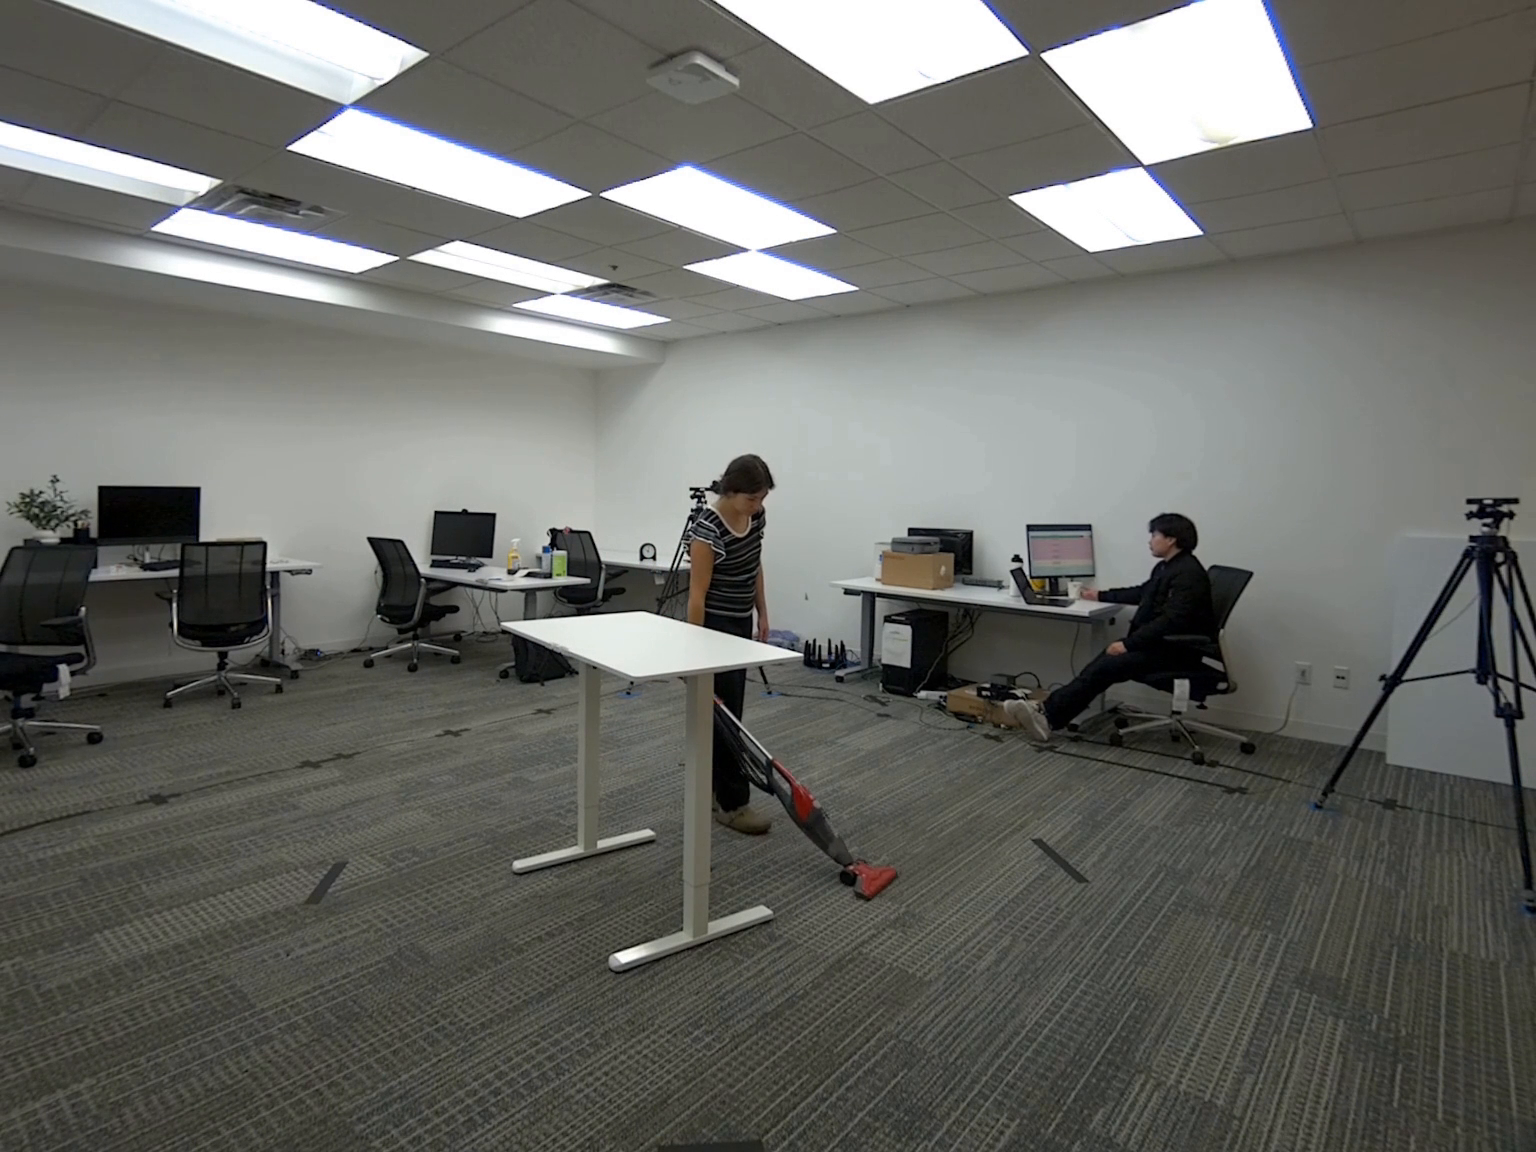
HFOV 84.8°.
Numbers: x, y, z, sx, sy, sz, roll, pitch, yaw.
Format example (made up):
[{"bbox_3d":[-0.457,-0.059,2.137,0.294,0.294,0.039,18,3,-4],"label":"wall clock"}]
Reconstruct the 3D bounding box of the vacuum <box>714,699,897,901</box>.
[{"bbox_3d":[0.011,0.752,3.258,1.087,0.143,0.245,42,19,27],"label":"vacuum"}]
